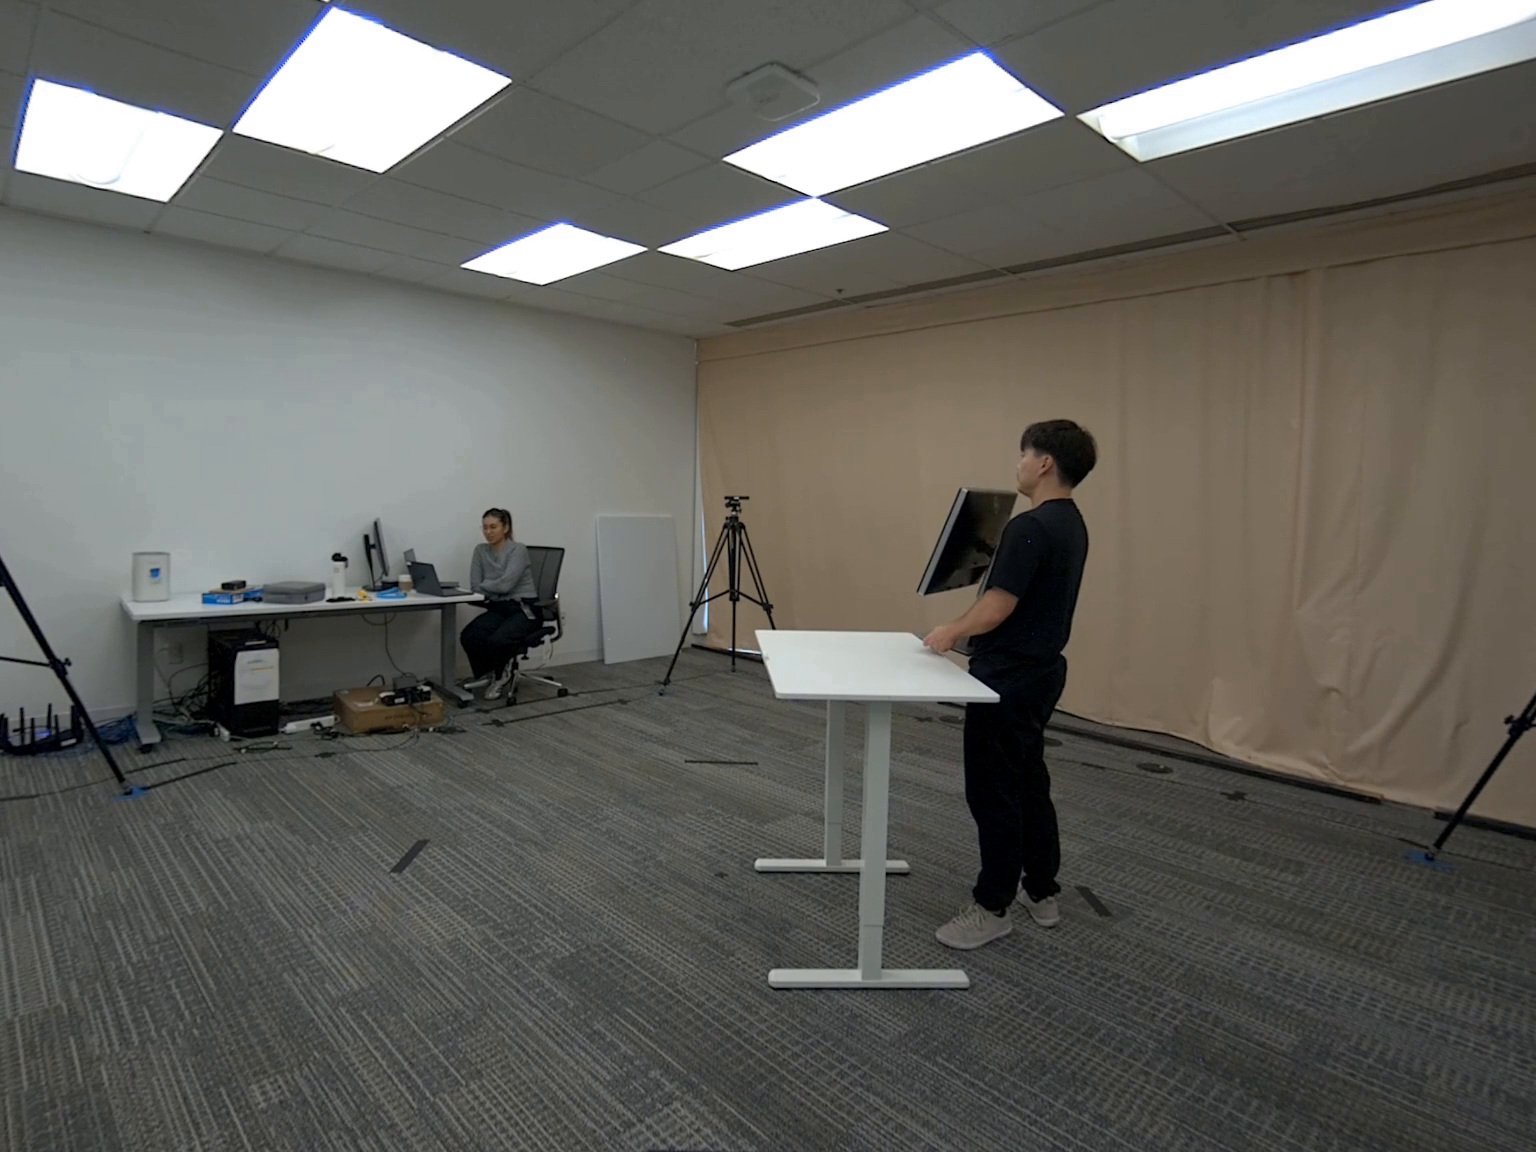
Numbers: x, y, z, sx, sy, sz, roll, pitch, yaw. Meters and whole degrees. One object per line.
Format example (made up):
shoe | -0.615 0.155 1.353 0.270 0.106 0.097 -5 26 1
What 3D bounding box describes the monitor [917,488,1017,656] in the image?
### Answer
monitor | 0.689 -0.028 2.844 0.192 0.520 0.528 15 10 29
